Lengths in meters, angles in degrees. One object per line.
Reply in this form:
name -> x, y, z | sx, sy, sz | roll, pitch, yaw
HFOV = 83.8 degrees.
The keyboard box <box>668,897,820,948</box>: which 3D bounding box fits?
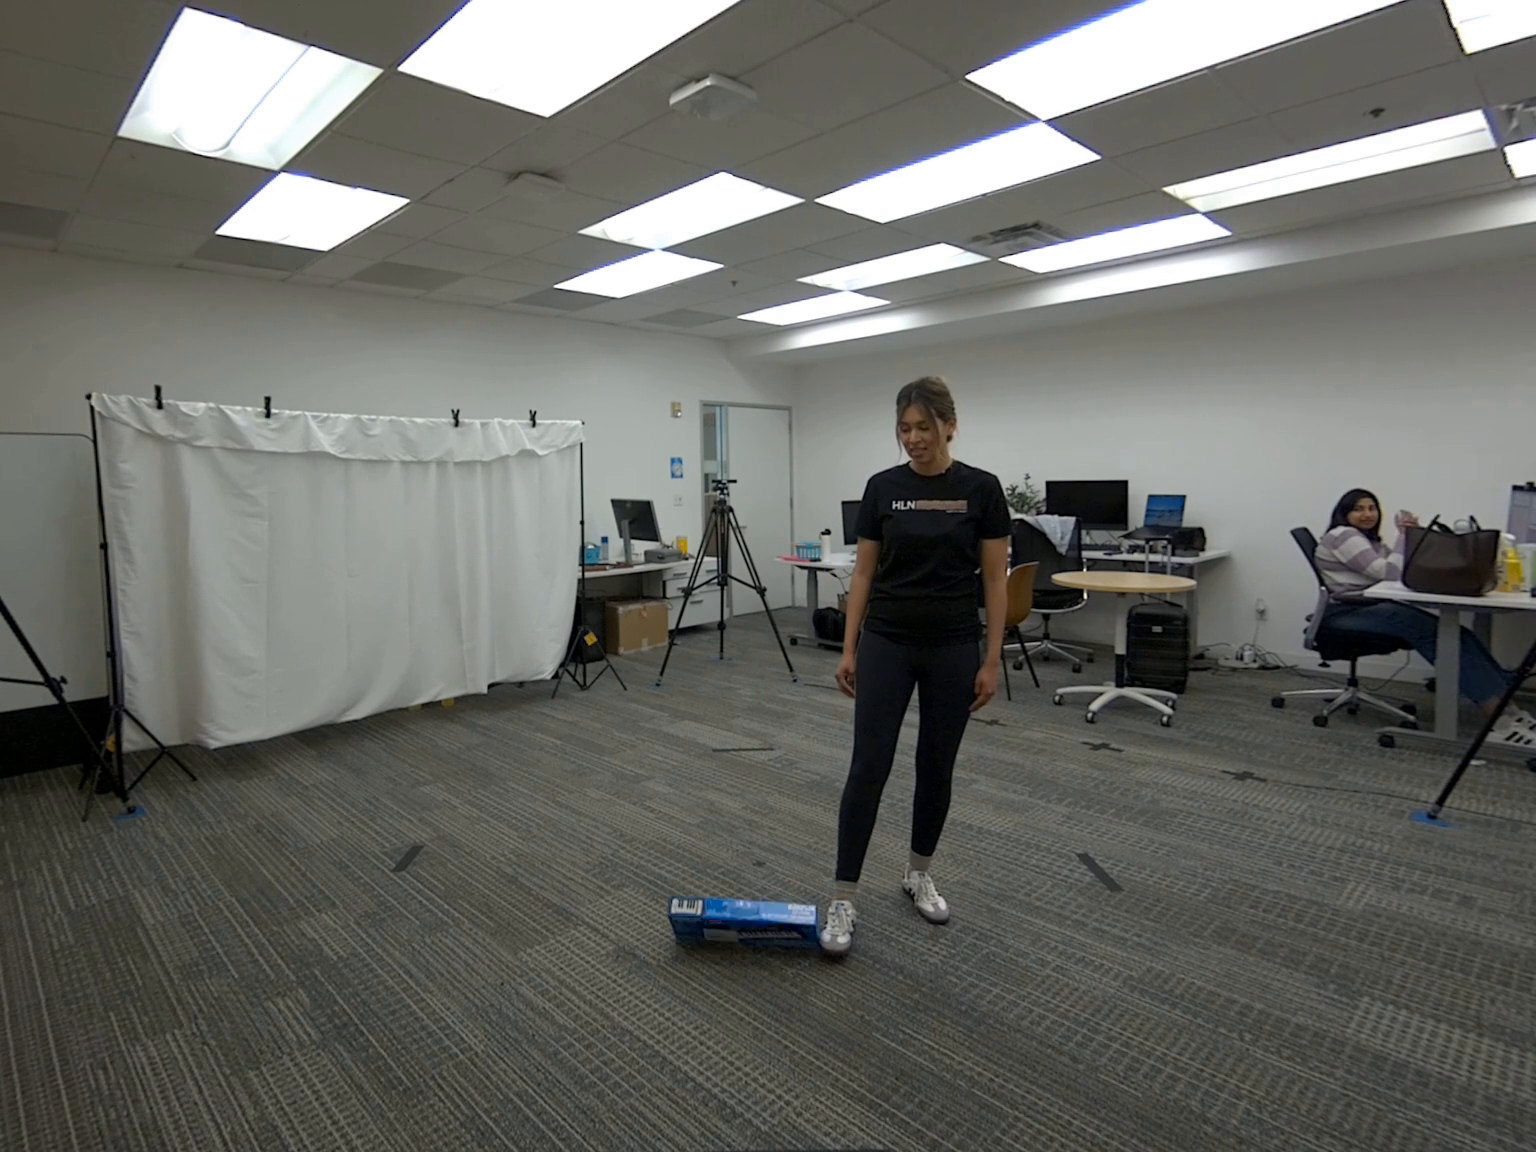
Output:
keyboard box -> -0.063, 1.041, 2.536 | 0.441, 0.170, 0.060 | 1, 45, 10
